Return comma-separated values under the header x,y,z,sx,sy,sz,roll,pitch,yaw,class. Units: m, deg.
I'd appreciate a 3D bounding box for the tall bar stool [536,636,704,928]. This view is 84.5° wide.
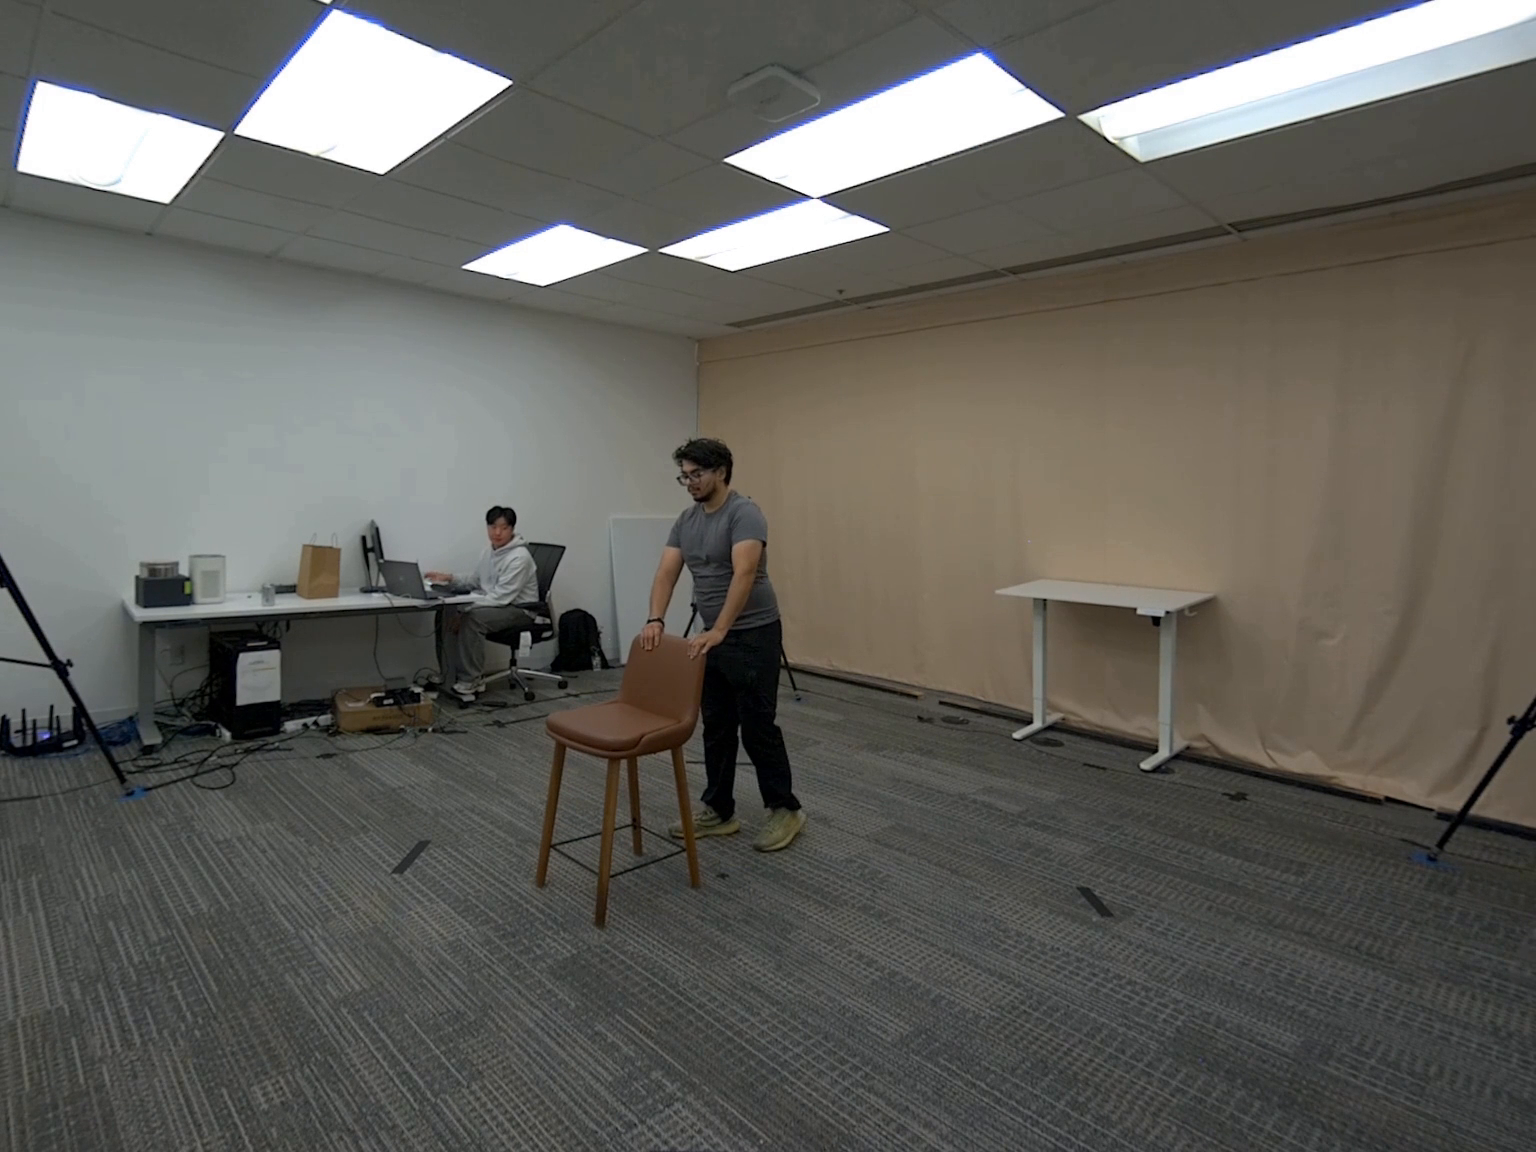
x,y,z,sx,sy,sz,roll,pitch,yaw,class
-0.515,0.672,2.984,0.456,0.888,0.468,1,3,-44,tall bar stool
